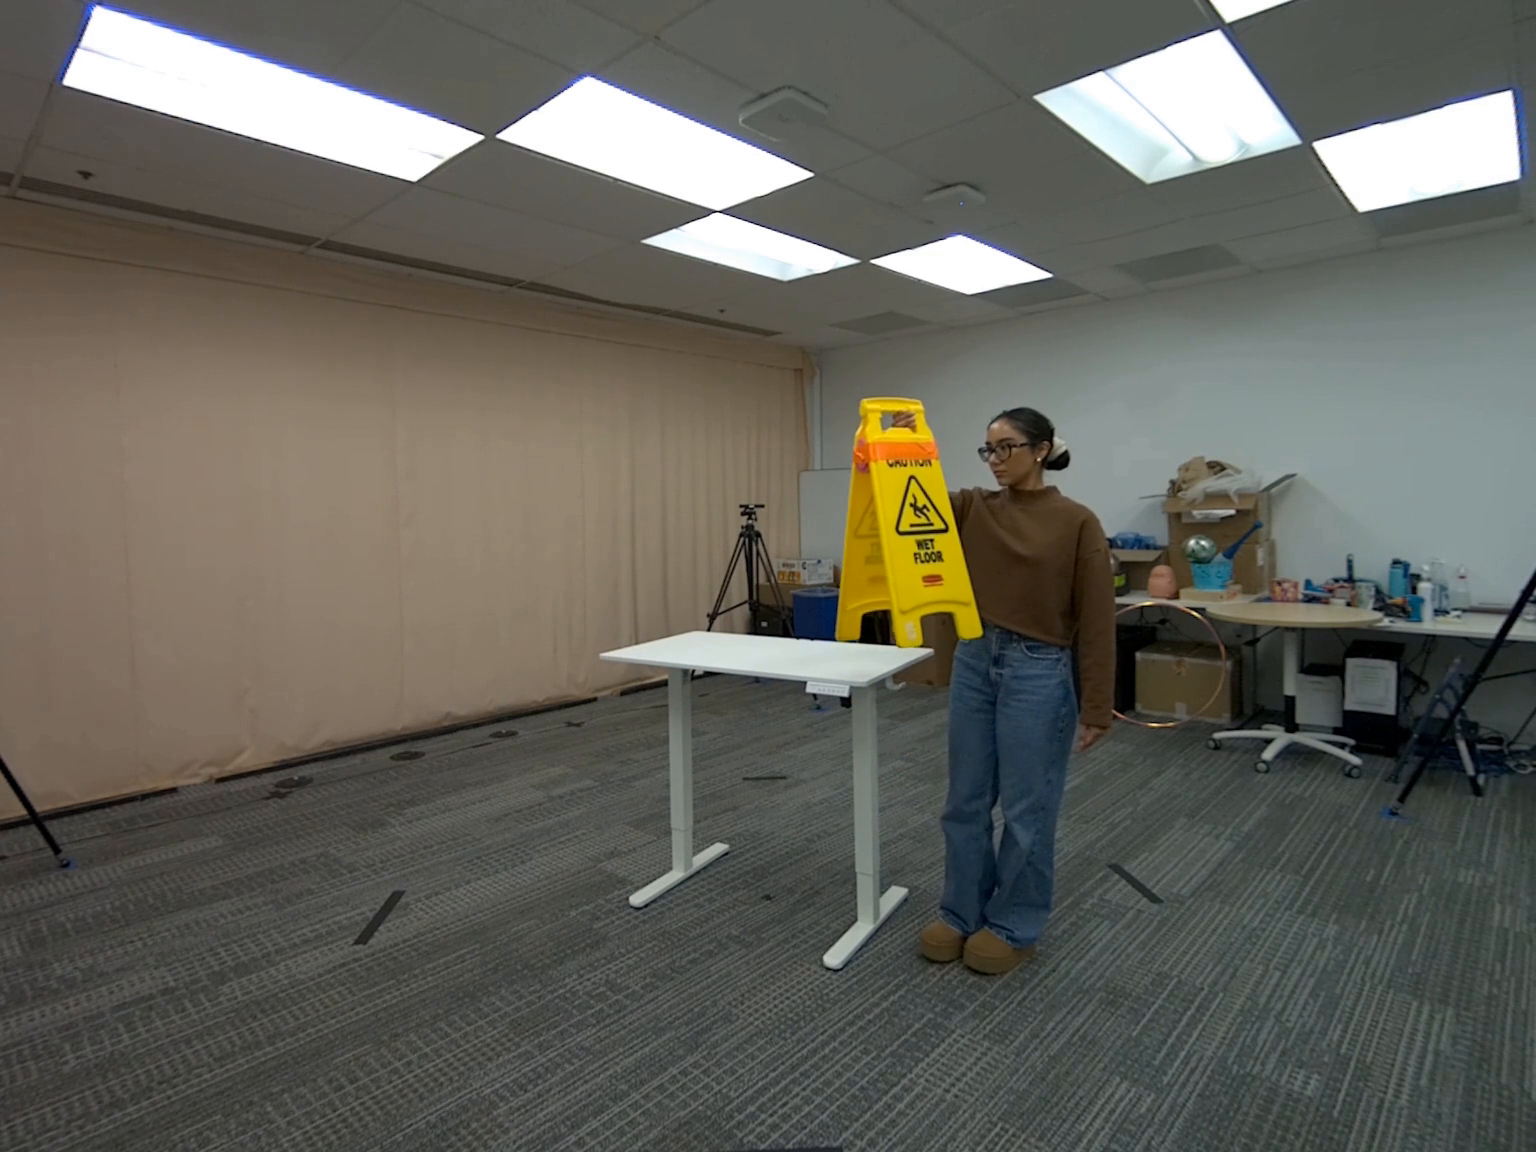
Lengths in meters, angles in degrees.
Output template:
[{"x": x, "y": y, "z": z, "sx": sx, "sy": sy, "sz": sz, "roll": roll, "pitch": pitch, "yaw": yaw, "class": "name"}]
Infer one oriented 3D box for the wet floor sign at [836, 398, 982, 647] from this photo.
[{"x": 0.358, "y": -0.148, "z": 2.263, "sx": 0.275, "sy": 0.646, "sz": 0.297, "roll": -4, "pitch": 0, "yaw": -29, "class": "wet floor sign"}]
